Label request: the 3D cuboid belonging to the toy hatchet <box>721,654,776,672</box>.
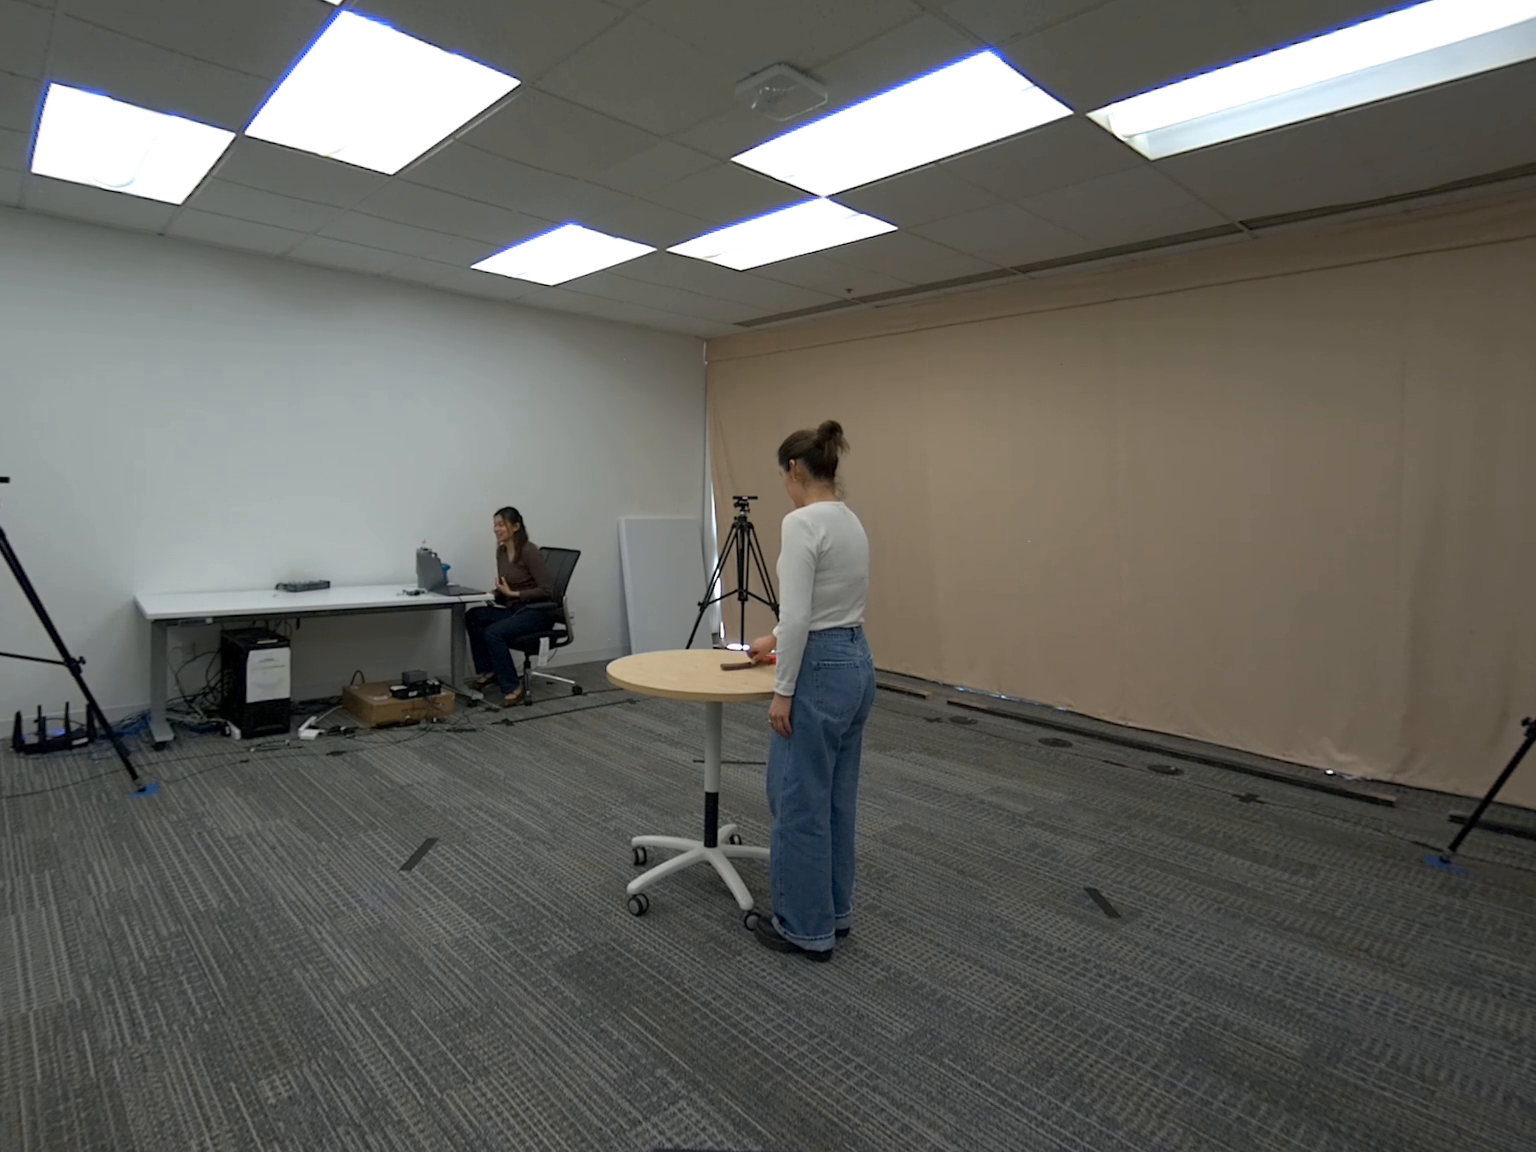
[{"bbox_3d":[-0.078,0.313,3.062,0.265,0.029,0.134,-2,13,-30],"label":"toy hatchet"}]
